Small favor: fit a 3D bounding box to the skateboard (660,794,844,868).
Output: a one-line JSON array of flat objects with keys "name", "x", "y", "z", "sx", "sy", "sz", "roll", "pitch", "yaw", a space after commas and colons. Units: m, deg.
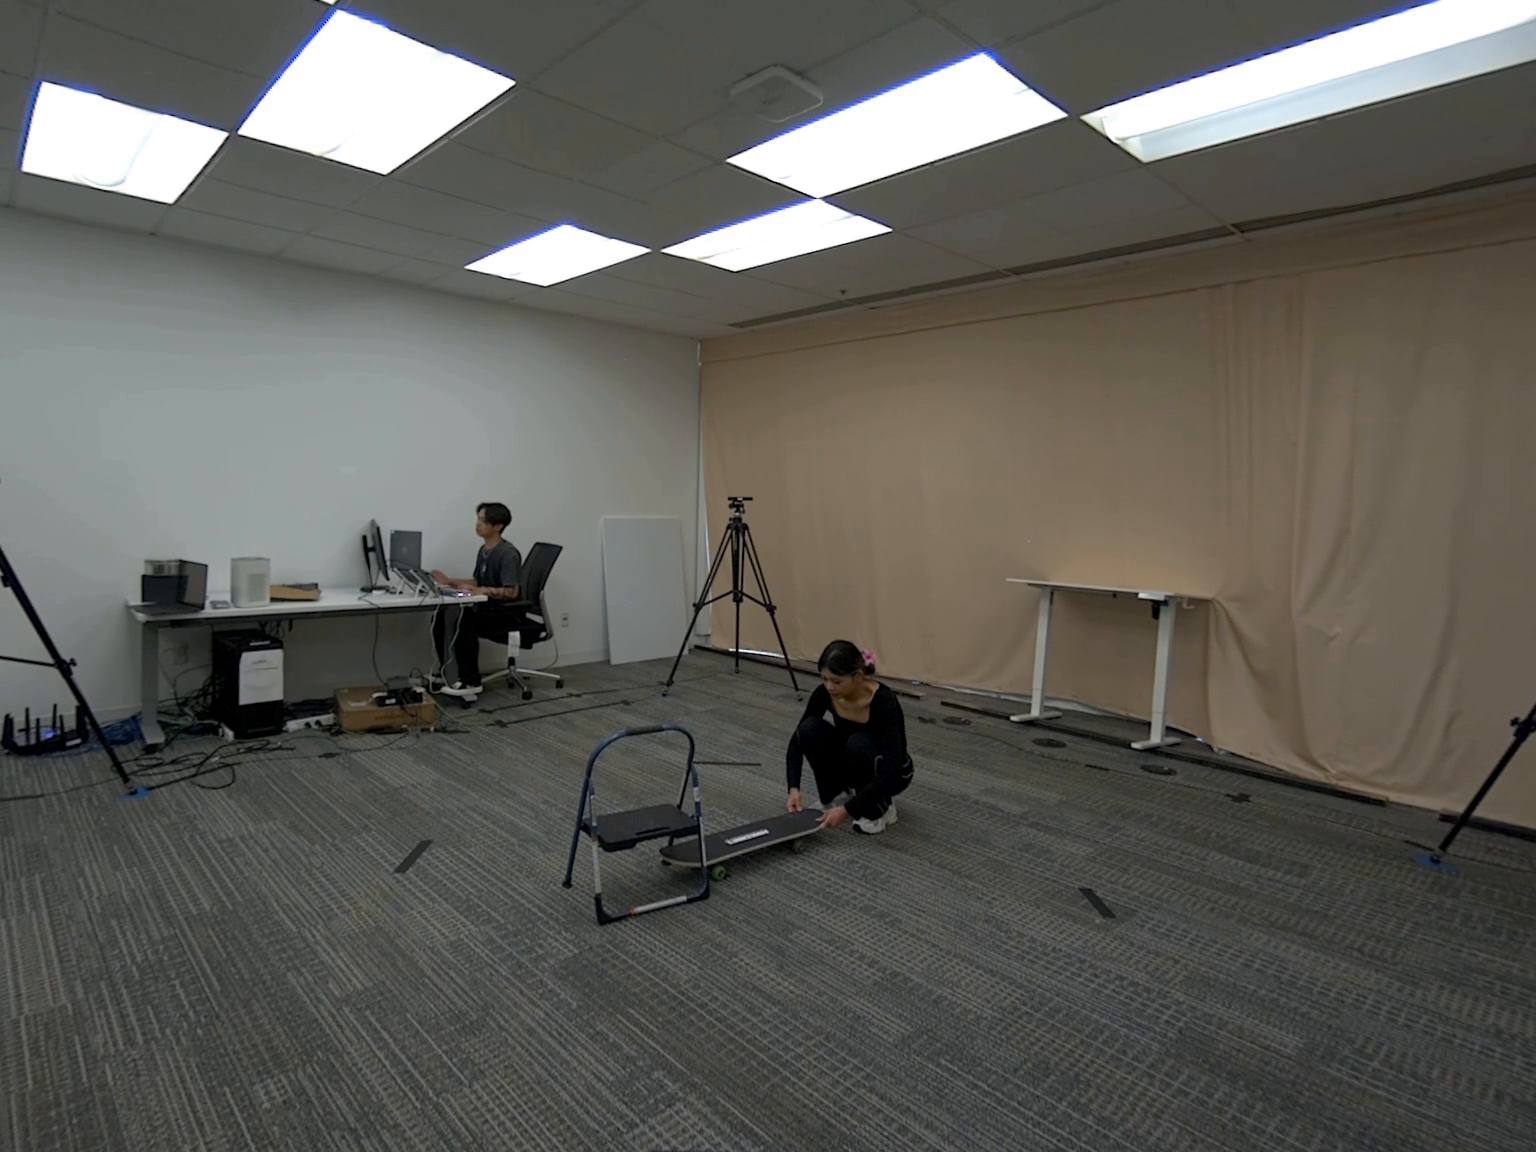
[{"name": "skateboard", "x": -0.088, "y": 1.033, "z": 3.249, "sx": 0.768, "sy": 0.110, "sz": 0.198, "roll": -3, "pitch": 6, "yaw": -40}]
